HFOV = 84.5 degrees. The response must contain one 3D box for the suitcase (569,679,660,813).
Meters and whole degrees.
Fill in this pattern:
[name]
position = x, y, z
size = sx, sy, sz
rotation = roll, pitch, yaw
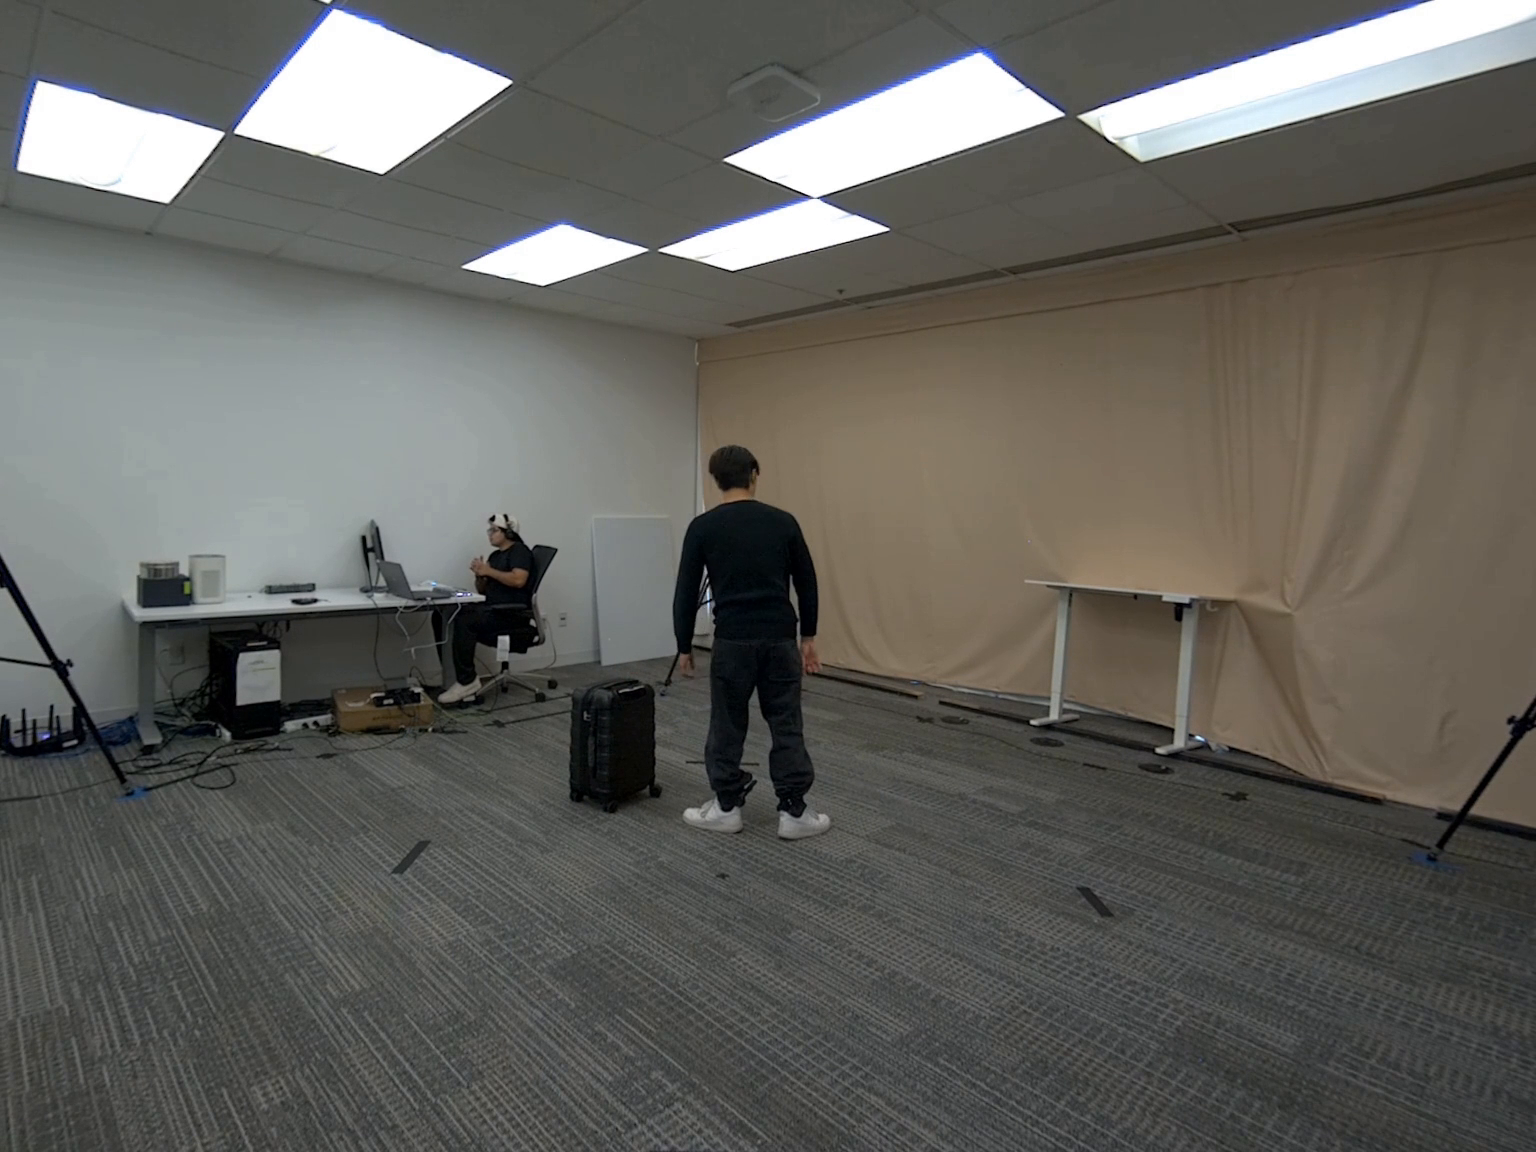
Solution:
[suitcase]
position = -0.716, 0.750, 3.859
size = 0.254, 0.548, 0.367
rotation = 3, 4, 37
